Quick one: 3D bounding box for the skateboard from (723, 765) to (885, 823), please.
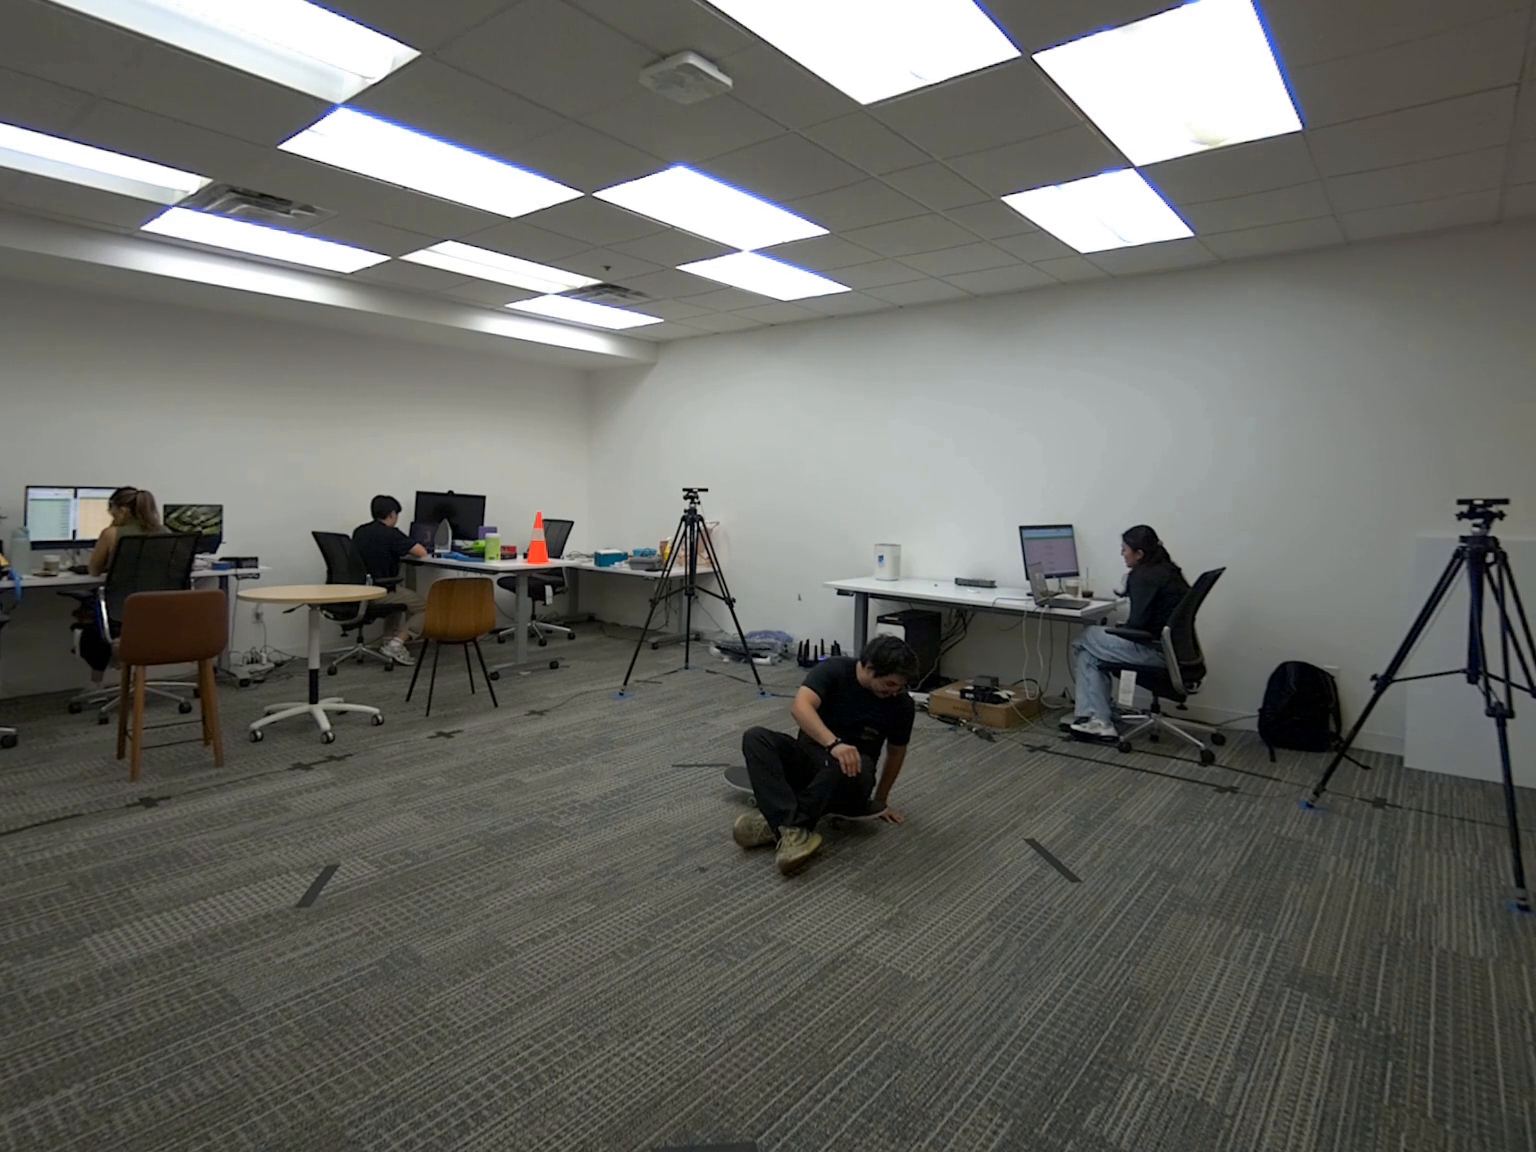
[{"bbox_3d":[0.131,0.961,3.684,0.811,0.109,0.188,7,11,35],"label":"skateboard"}]
